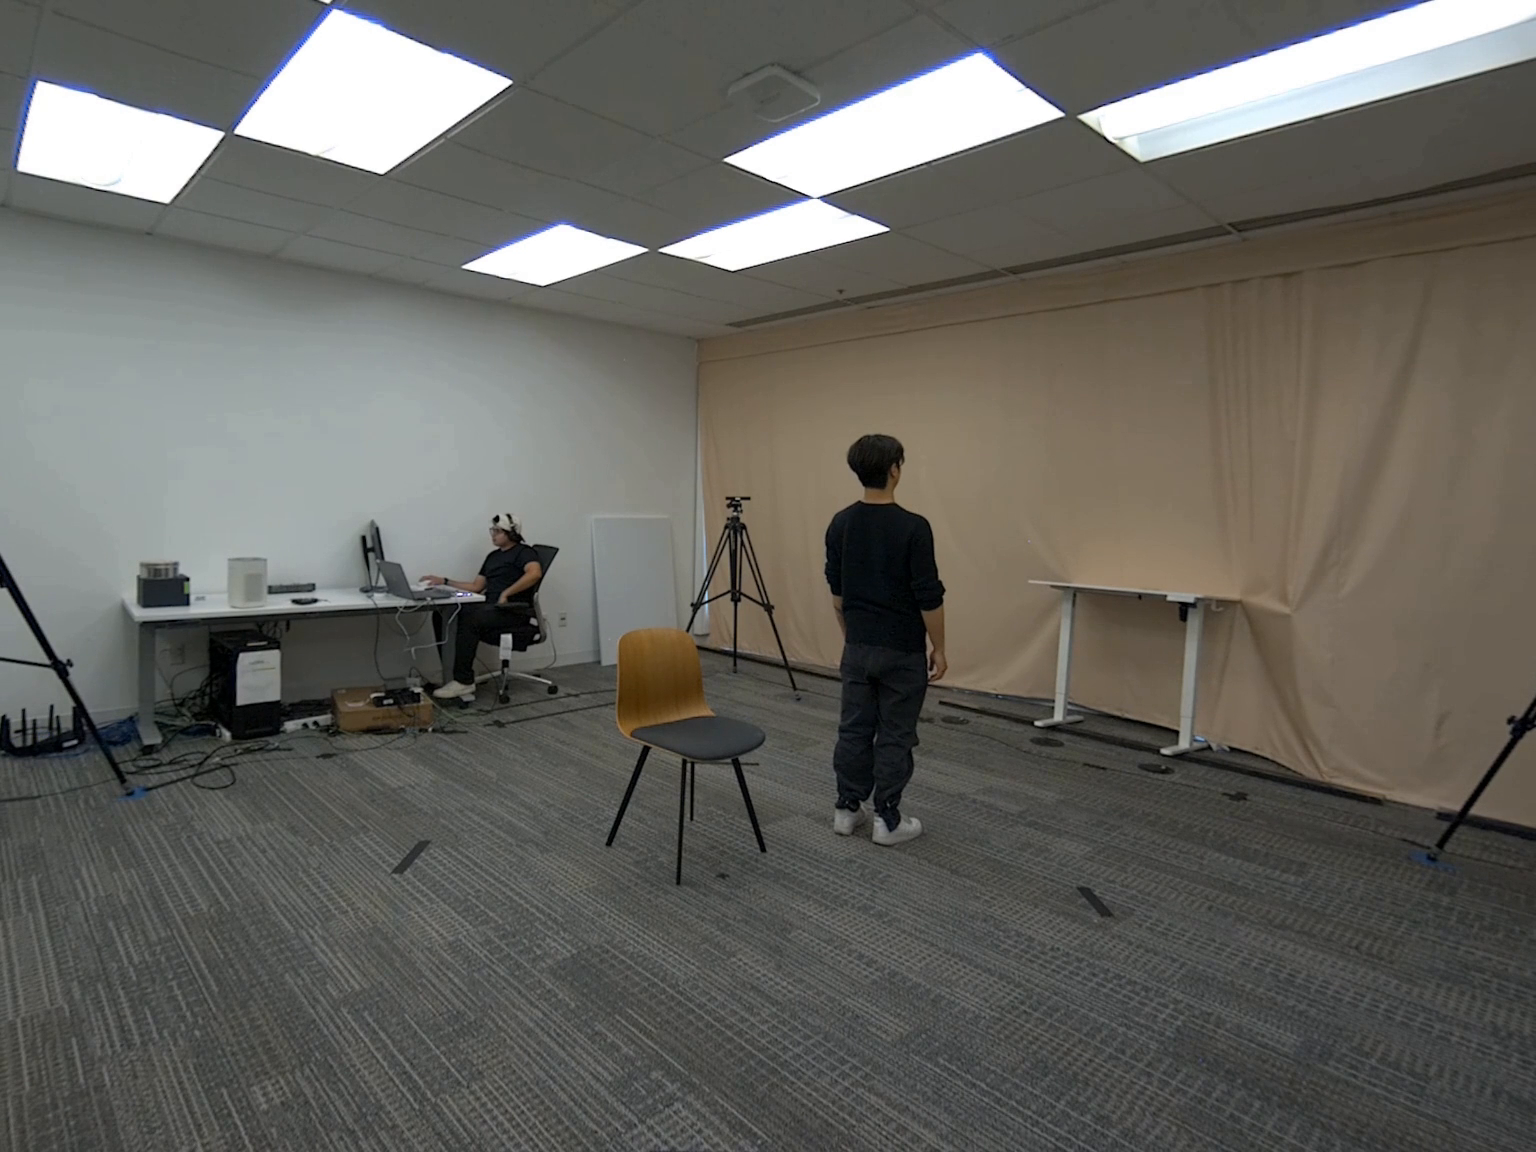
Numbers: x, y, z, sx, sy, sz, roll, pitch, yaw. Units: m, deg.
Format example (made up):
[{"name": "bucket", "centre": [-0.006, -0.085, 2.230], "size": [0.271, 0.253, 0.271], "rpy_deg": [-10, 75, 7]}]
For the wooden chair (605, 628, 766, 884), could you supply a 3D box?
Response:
[{"name": "wooden chair", "centre": [-0.313, 0.659, 3.297], "size": [0.467, 0.878, 0.535], "rpy_deg": [-1, 0, -44]}]
